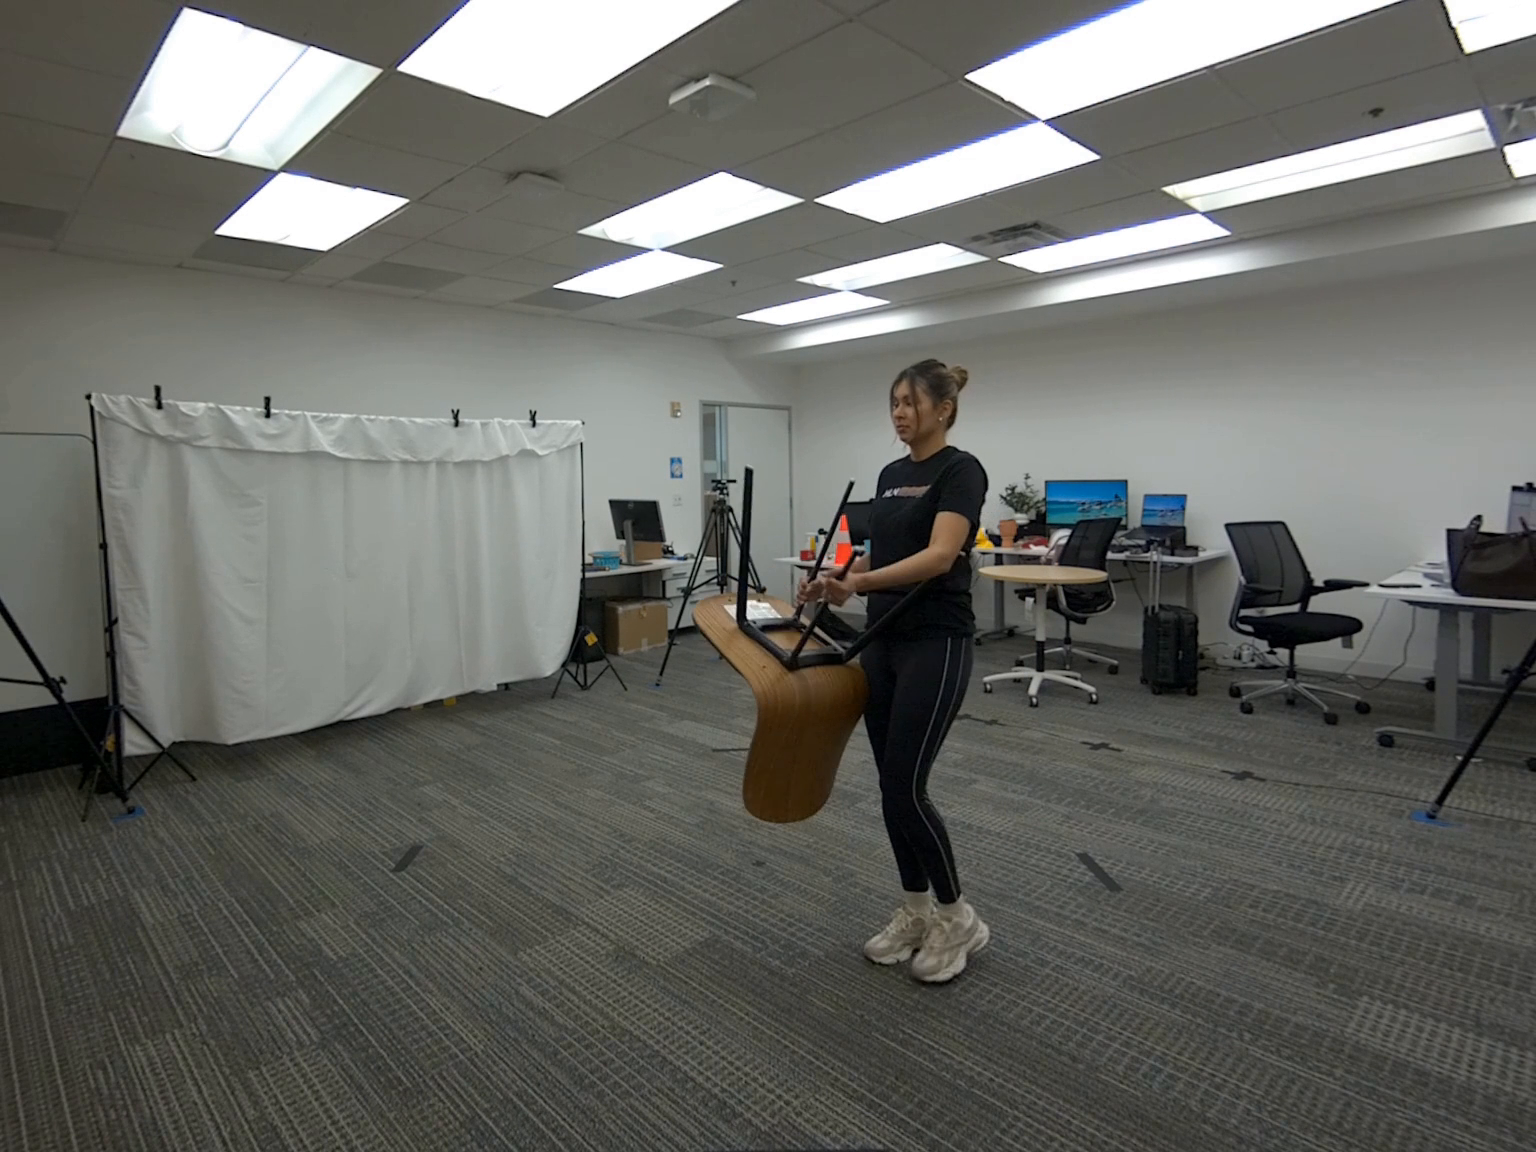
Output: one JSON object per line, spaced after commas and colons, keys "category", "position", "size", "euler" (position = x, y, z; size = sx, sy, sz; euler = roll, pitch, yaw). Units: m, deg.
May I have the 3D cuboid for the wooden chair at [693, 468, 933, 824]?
{"category": "wooden chair", "position": [0.079, 0.183, 2.457], "size": [0.464, 0.869, 0.544], "euler": [2, 24, -44]}
